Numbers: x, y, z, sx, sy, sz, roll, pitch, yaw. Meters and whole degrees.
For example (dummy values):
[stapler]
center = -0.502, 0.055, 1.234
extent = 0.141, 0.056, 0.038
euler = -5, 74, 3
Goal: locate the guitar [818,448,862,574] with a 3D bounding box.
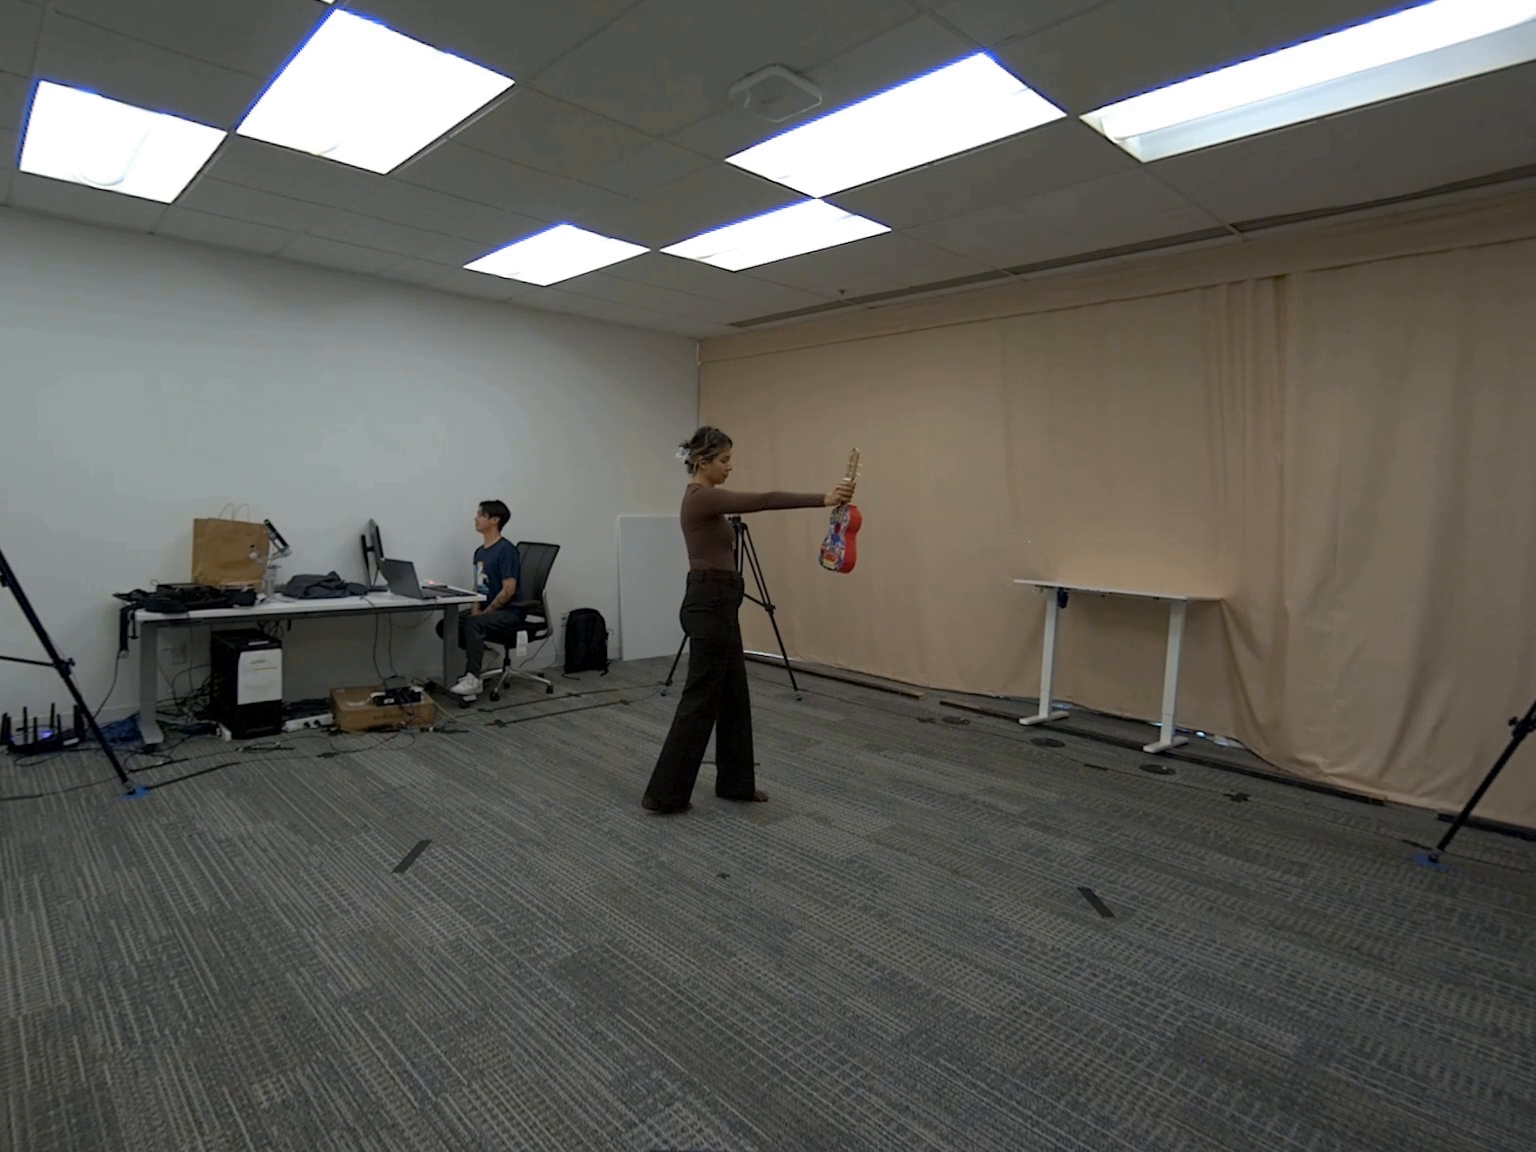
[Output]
[guitar]
center = 0.318, -0.253, 3.362
extent = 0.069, 0.494, 0.198
euler = 10, 14, -24
